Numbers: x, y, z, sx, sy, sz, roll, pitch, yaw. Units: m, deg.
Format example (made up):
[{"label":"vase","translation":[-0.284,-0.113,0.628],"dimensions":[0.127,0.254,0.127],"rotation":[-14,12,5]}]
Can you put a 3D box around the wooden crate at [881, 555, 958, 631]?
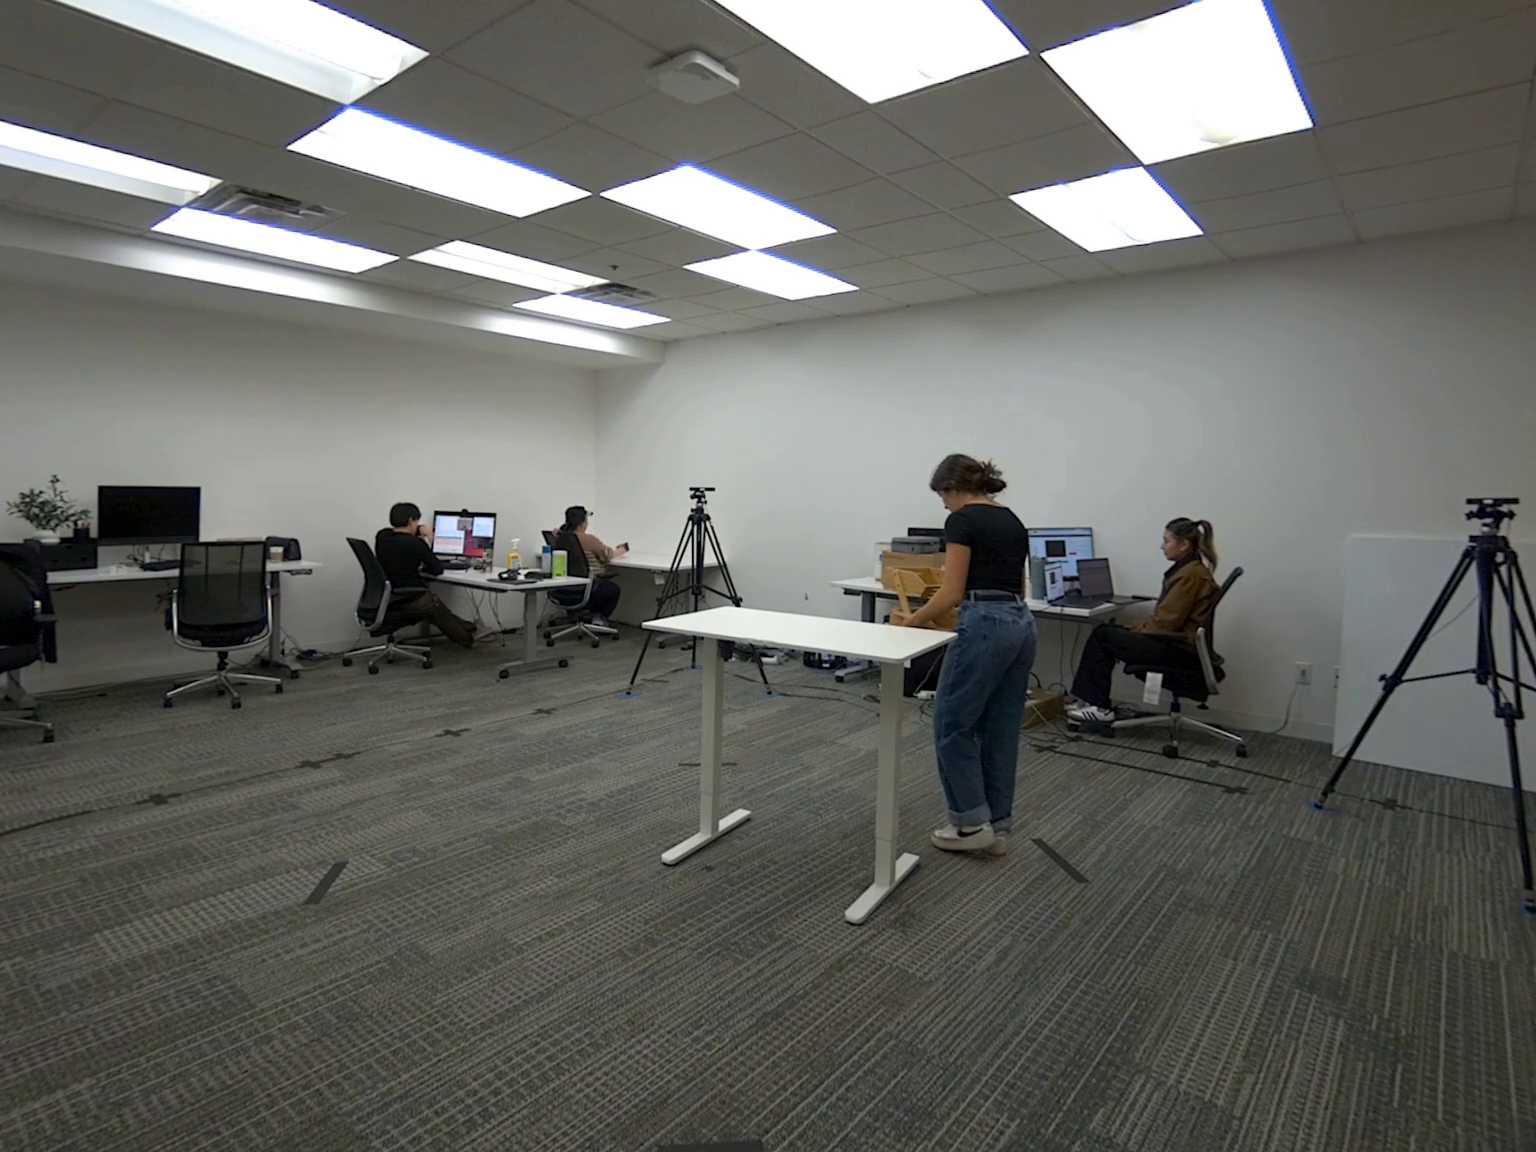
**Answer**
[{"label":"wooden crate","translation":[0.684,0.103,3.551],"dimensions":[0.314,0.272,0.313],"rotation":[1,6,-43]}]
